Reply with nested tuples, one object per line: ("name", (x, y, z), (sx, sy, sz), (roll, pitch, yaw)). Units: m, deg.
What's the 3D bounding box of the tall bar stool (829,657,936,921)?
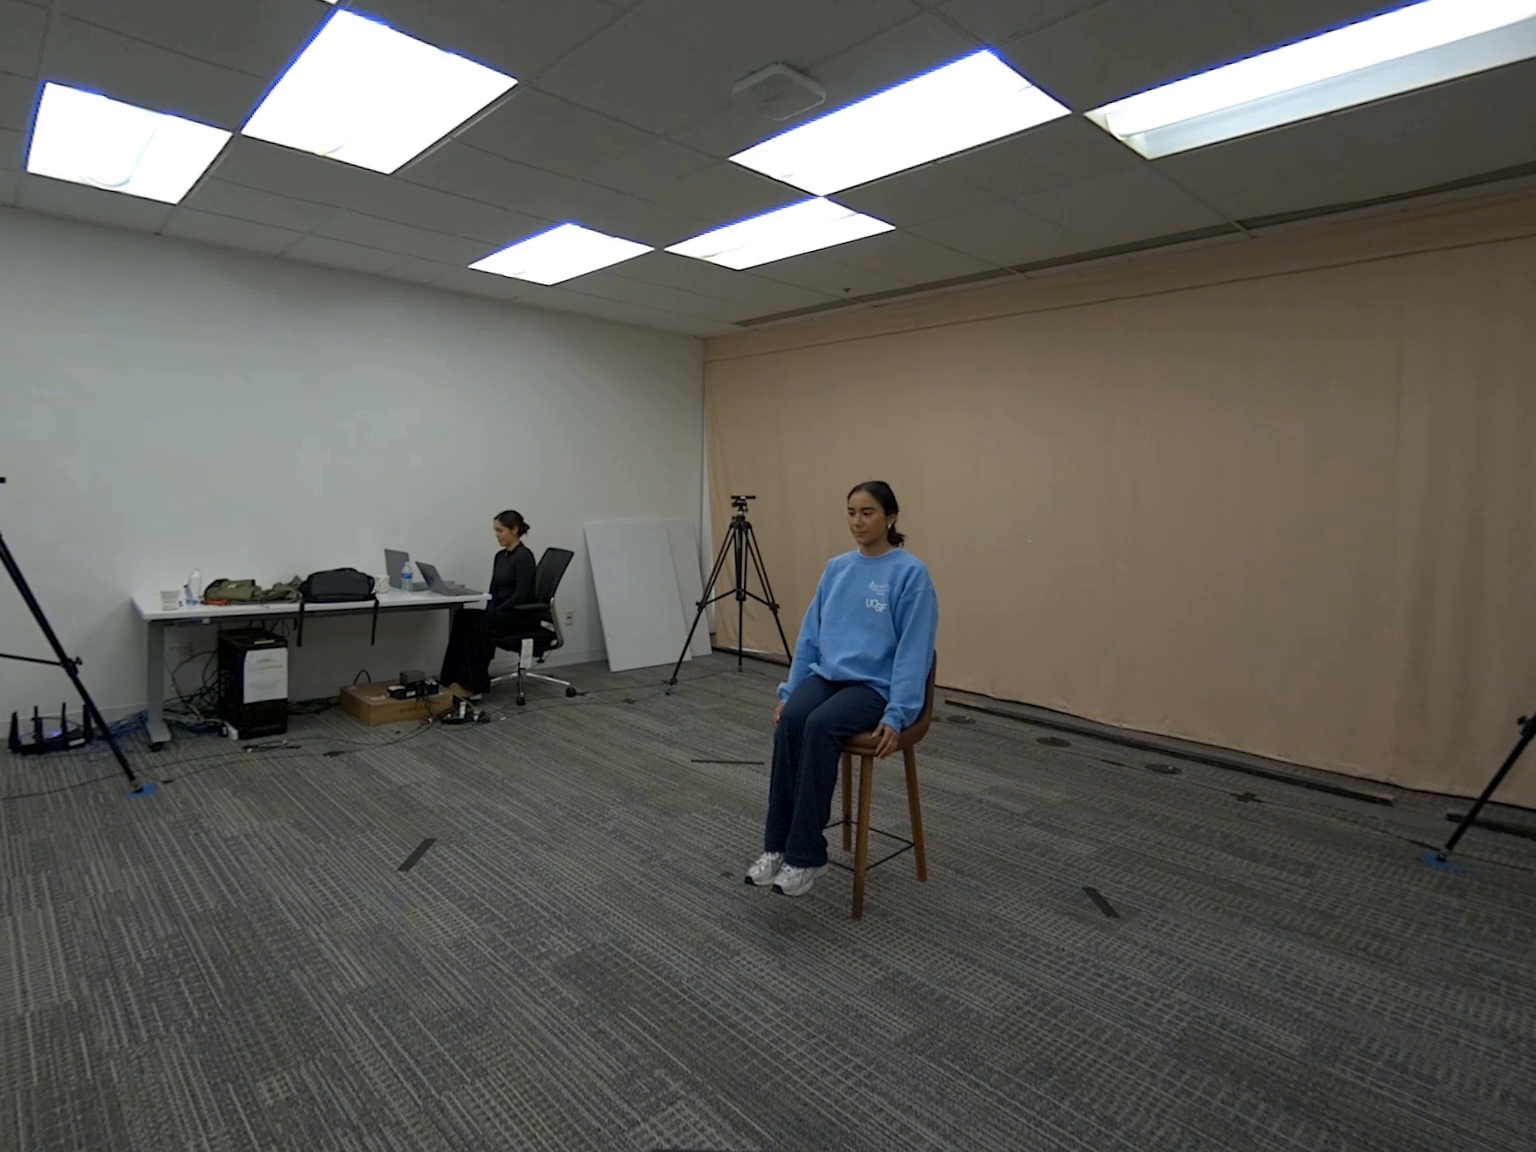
("tall bar stool", (0.321, 0.682, 3.058), (0.468, 0.888, 0.456), (5, 3, 44))
